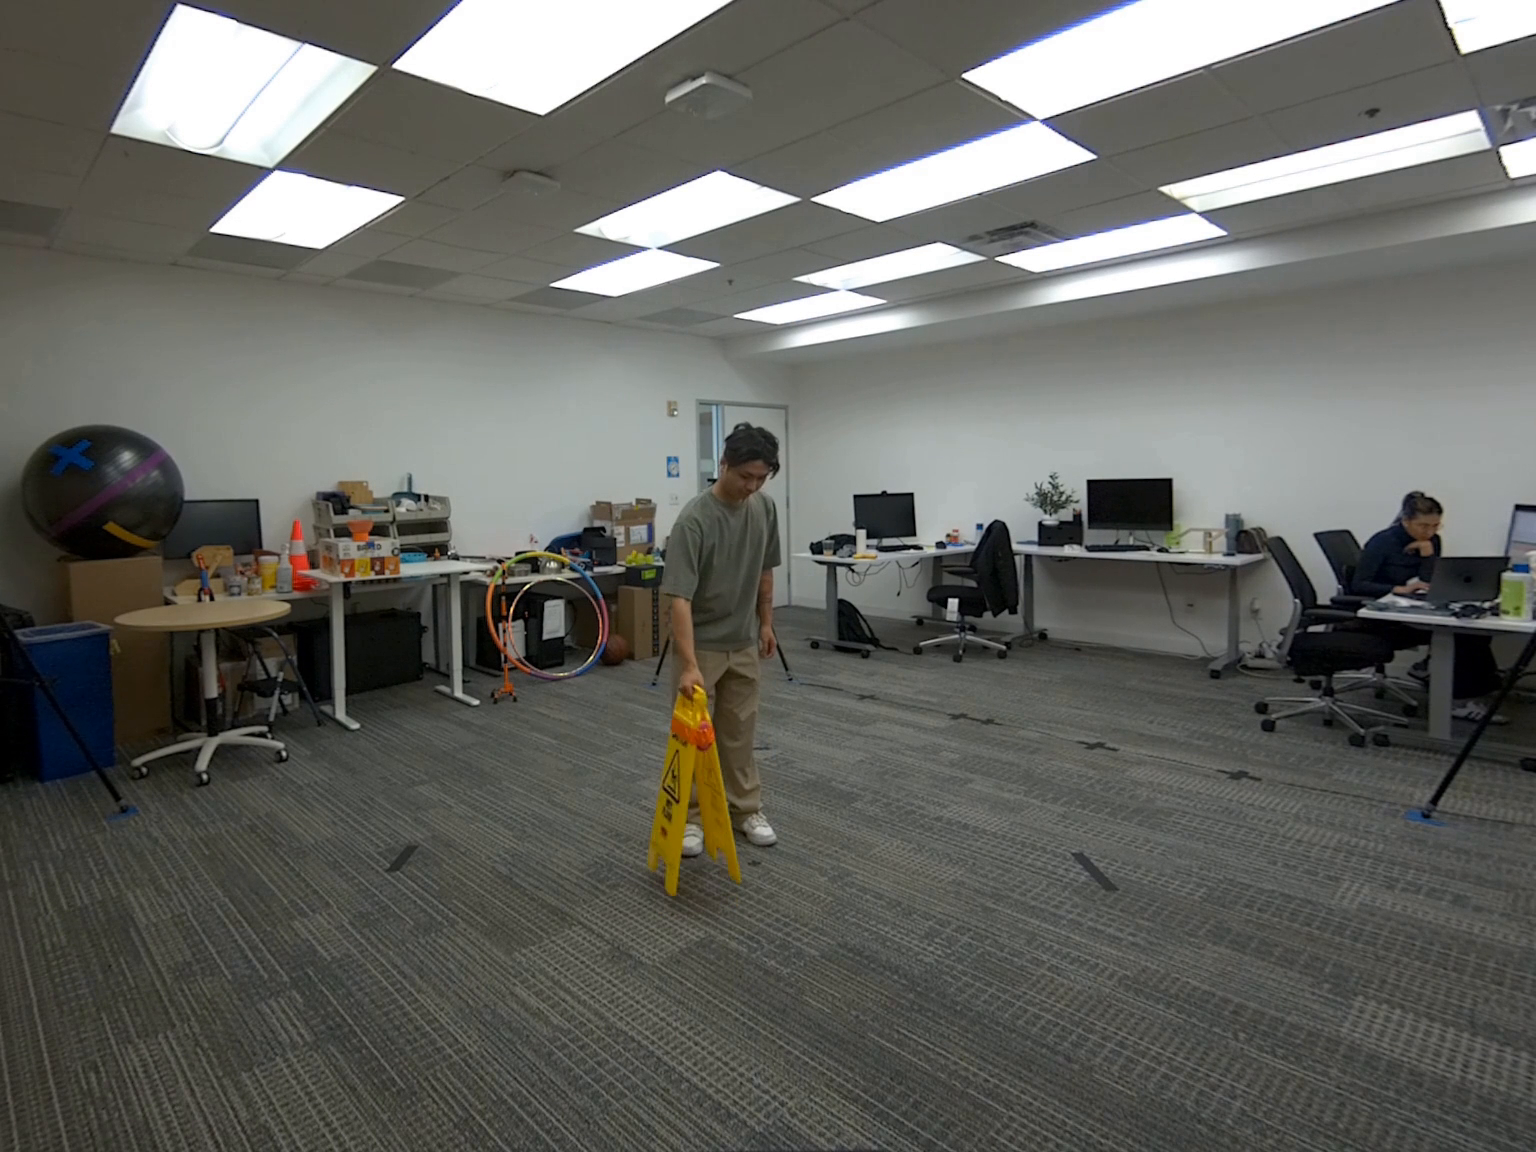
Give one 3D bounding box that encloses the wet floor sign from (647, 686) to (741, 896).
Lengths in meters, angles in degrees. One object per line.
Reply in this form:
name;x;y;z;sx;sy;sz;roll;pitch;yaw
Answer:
wet floor sign;-0.255;0.689;2.896;0.284;0.644;0.289;-2;3;-24
